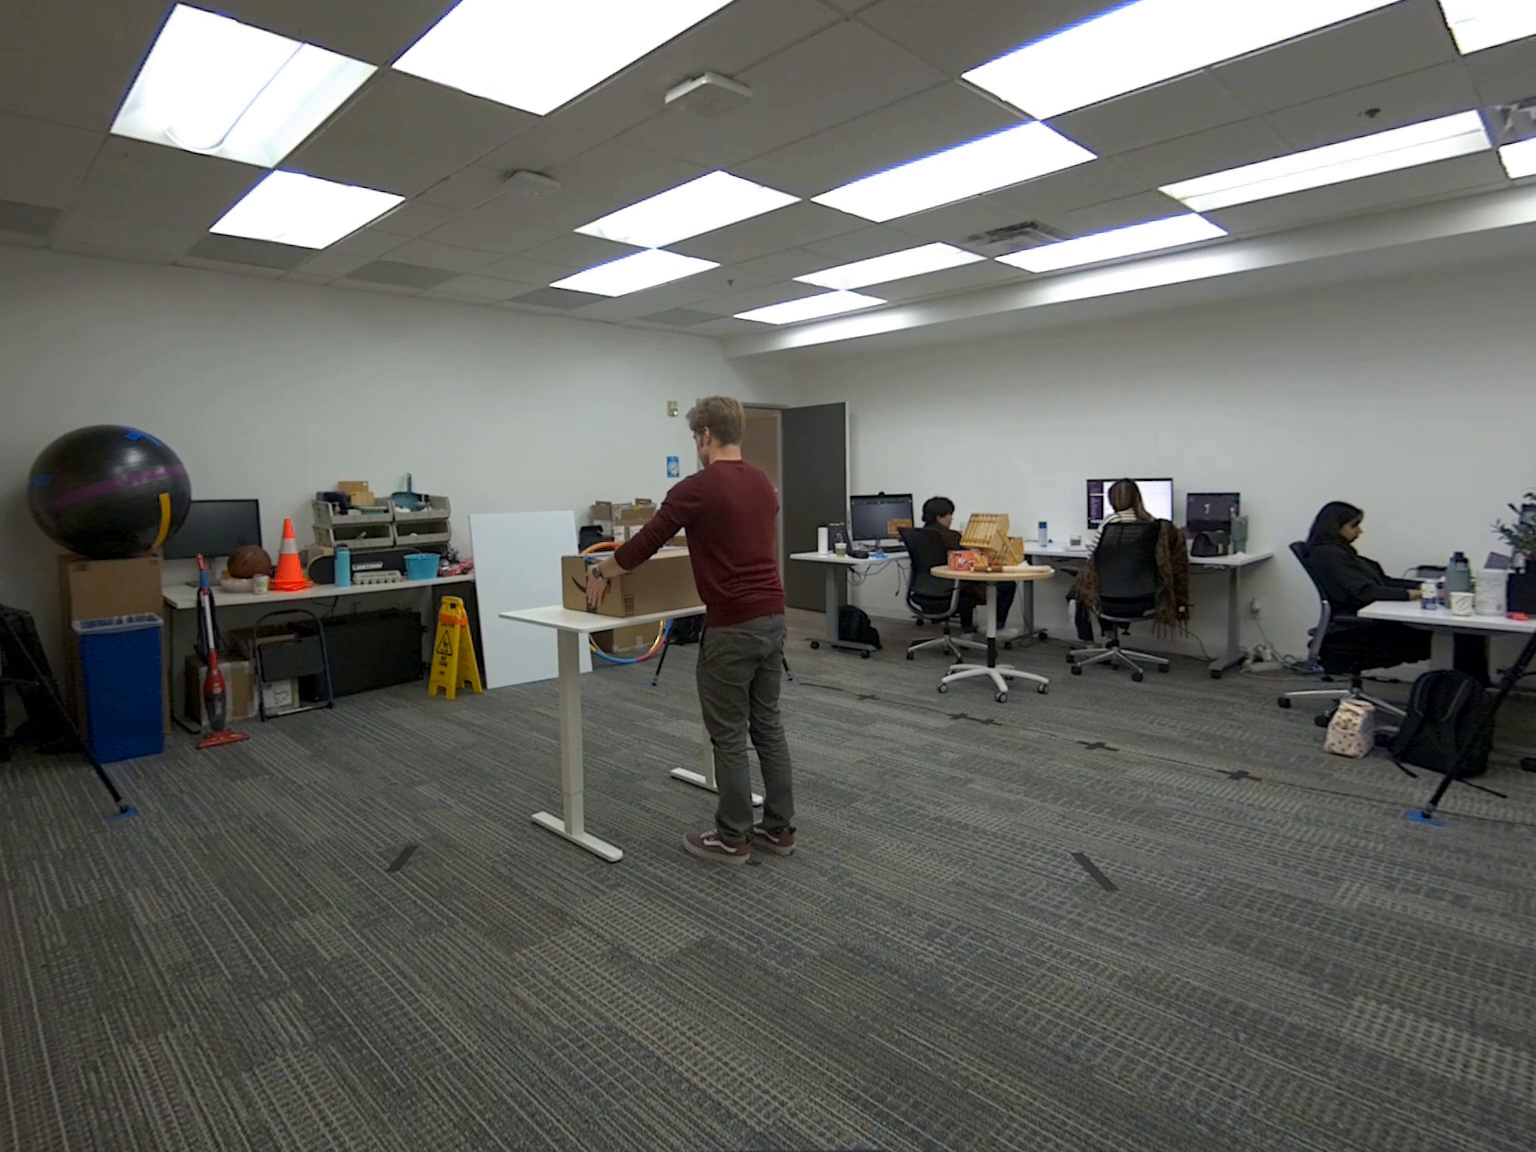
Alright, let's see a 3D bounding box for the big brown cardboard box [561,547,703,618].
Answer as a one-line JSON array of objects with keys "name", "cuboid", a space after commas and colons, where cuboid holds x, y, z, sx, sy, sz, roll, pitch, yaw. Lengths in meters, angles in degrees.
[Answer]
[{"name": "big brown cardboard box", "cuboid": [-0.507, 0.009, 3.546, 0.430, 0.232, 0.573, 5, 8, 45]}]
